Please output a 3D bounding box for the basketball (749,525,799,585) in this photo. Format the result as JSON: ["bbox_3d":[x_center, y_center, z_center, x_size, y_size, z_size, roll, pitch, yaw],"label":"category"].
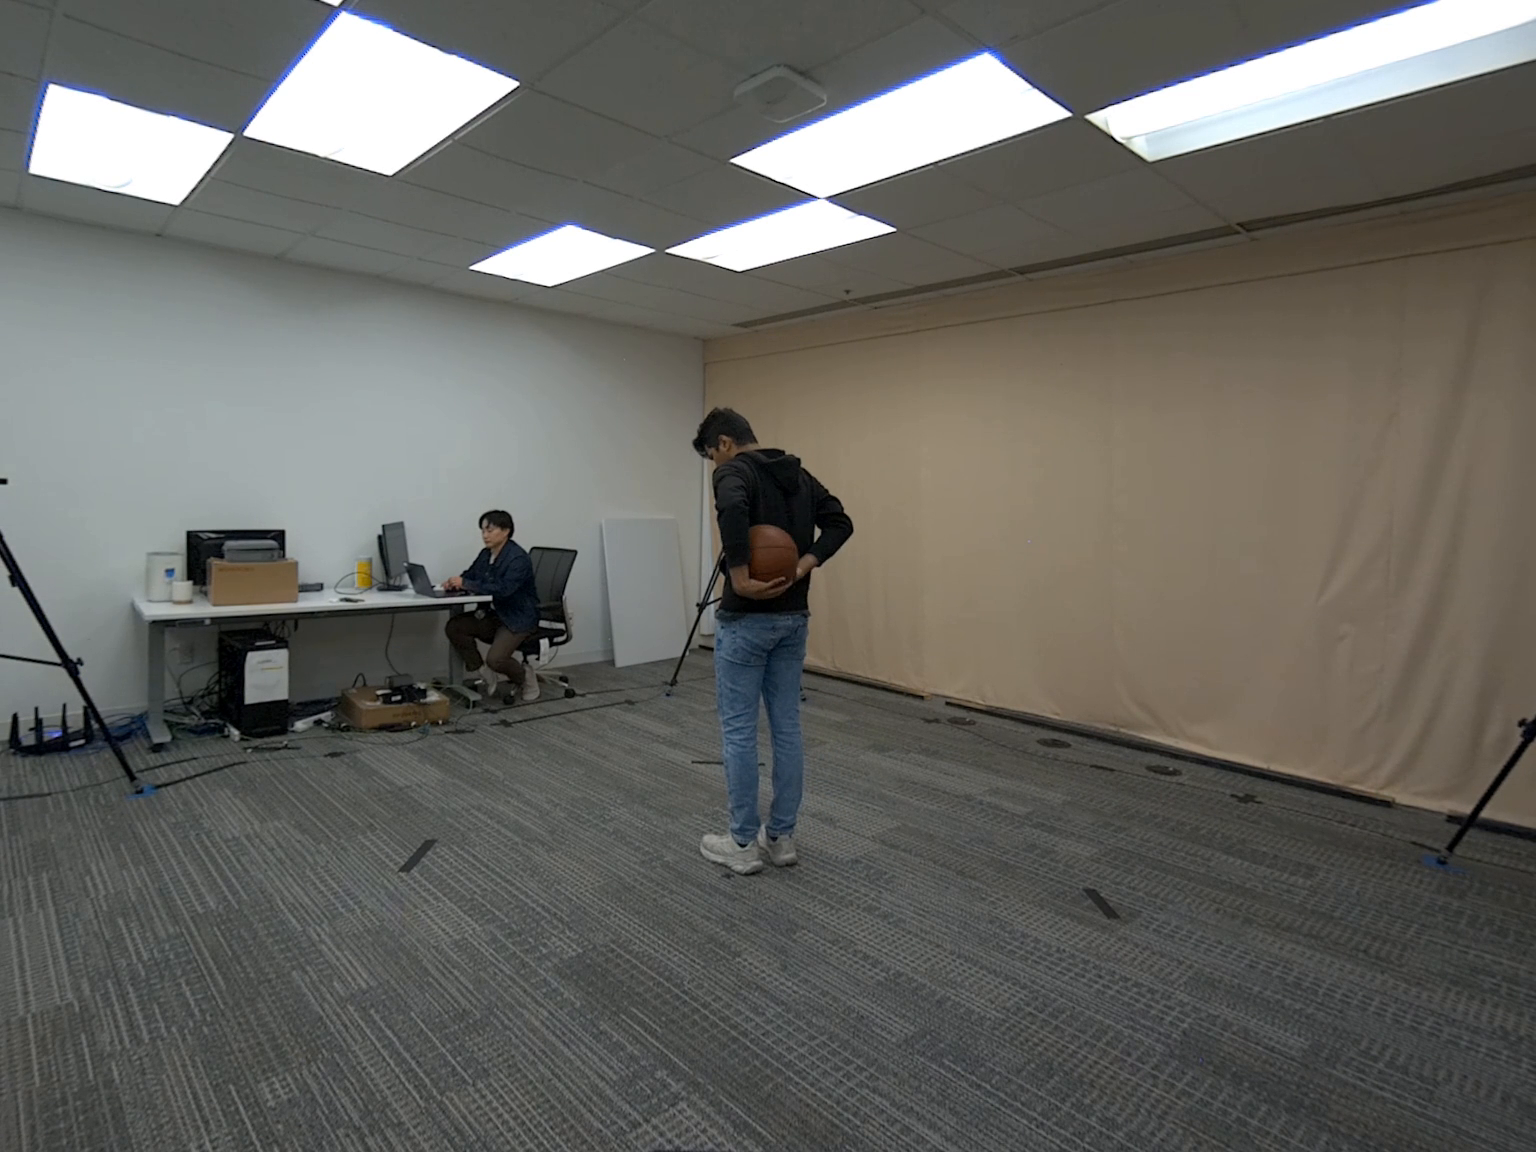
[{"bbox_3d":[-0.023,-0.056,2.952,0.236,0.235,0.237,1,4,-1],"label":"basketball"}]
